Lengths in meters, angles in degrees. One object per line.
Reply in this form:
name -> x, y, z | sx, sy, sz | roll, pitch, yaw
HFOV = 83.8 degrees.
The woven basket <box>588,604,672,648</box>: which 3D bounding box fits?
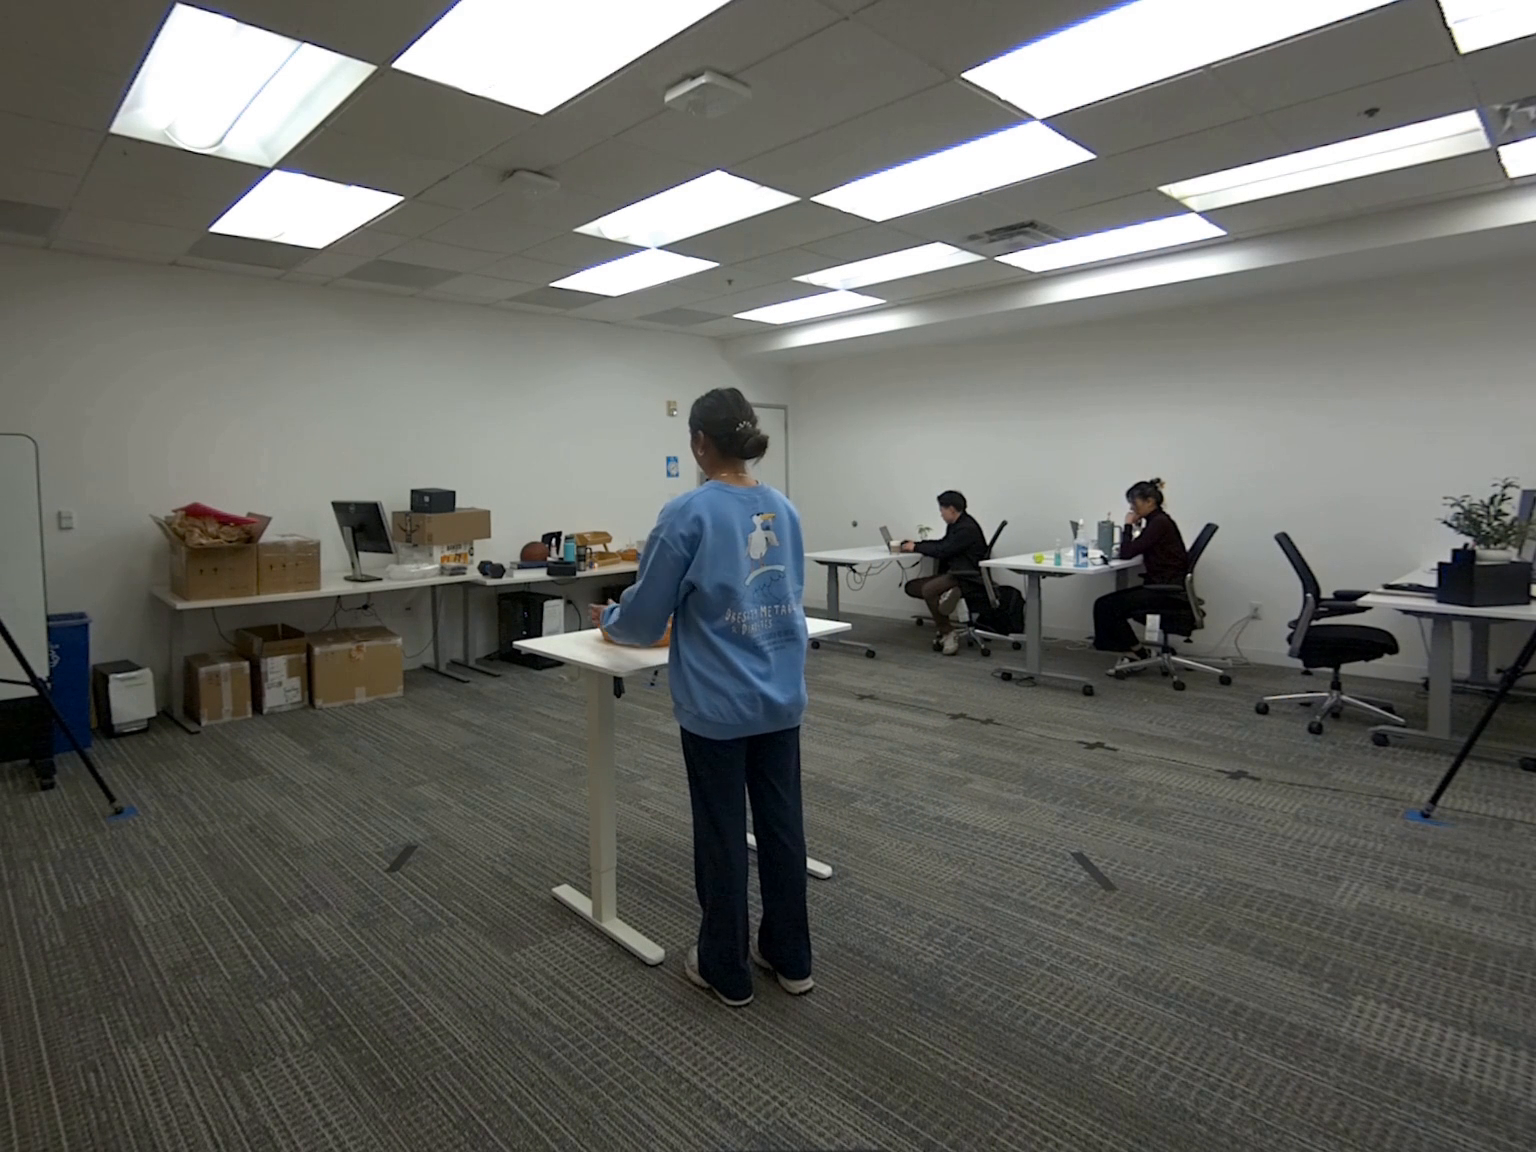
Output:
woven basket -> -0.405, 0.177, 2.751 | 0.245, 0.073, 0.361 | -4, 7, -43
